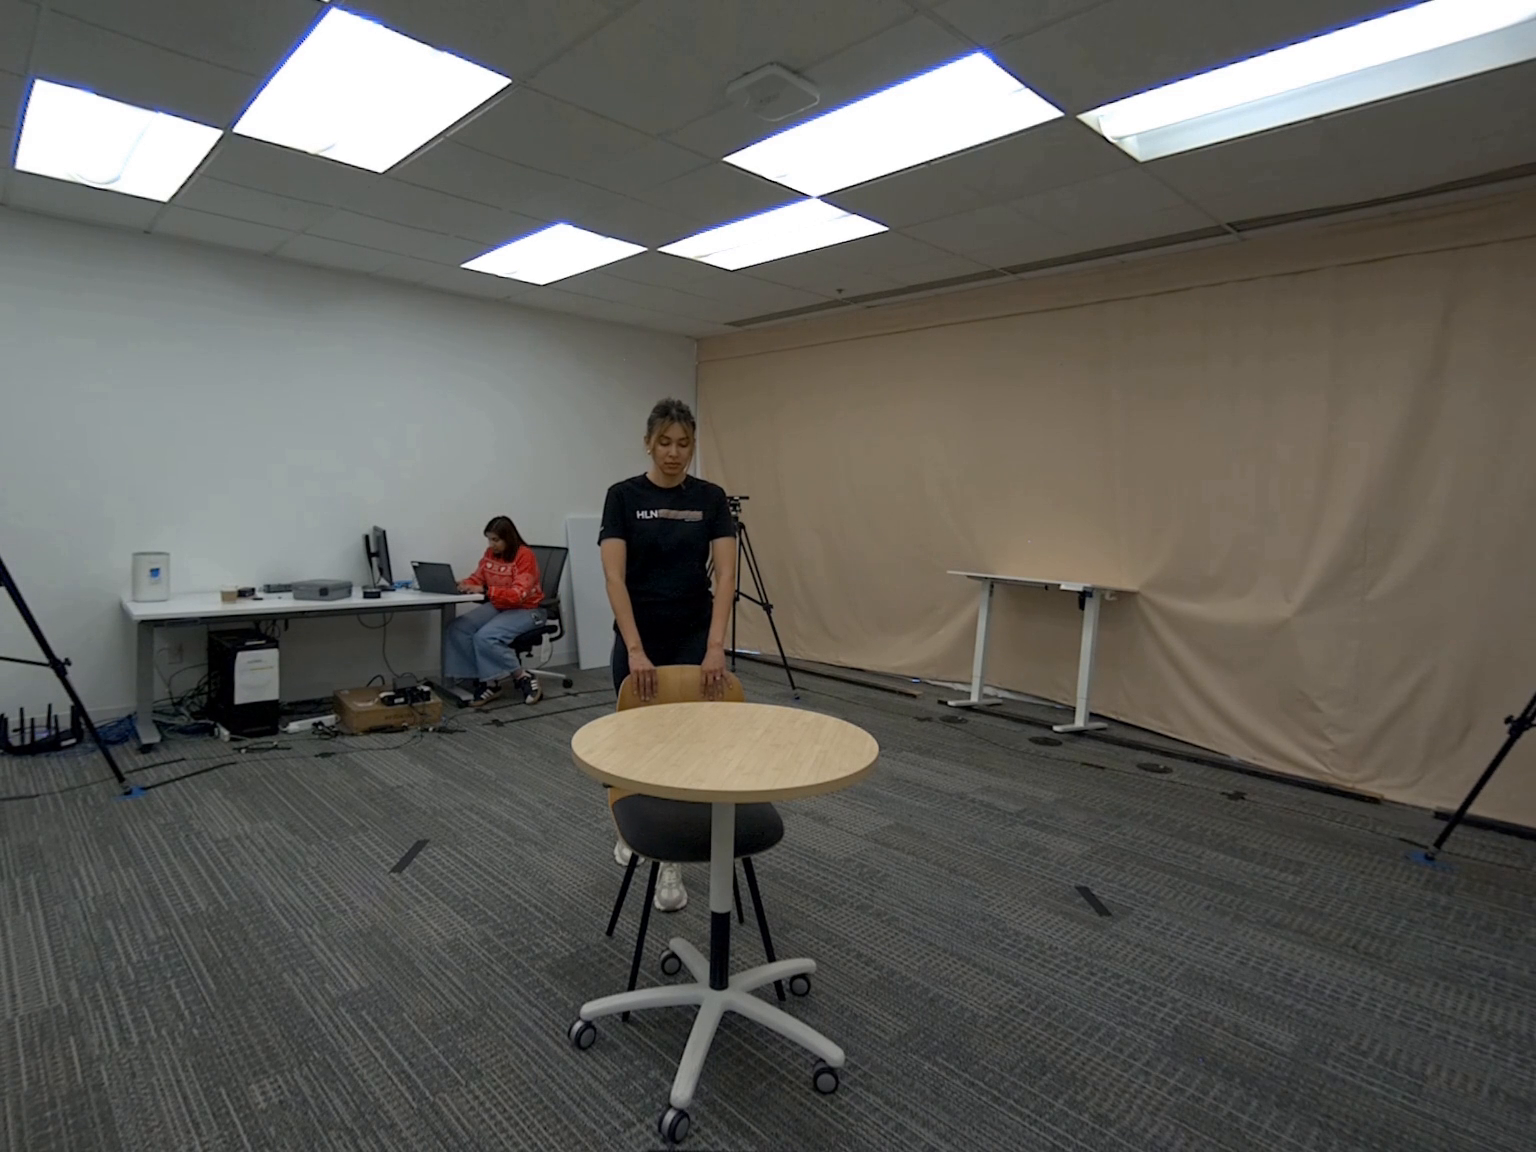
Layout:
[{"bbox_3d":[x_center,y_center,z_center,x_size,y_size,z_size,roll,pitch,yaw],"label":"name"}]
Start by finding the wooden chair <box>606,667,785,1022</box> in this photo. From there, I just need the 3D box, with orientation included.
[{"bbox_3d":[-0.222,0.735,2.454,0.472,0.877,0.529,0,0,-16],"label":"wooden chair"}]
